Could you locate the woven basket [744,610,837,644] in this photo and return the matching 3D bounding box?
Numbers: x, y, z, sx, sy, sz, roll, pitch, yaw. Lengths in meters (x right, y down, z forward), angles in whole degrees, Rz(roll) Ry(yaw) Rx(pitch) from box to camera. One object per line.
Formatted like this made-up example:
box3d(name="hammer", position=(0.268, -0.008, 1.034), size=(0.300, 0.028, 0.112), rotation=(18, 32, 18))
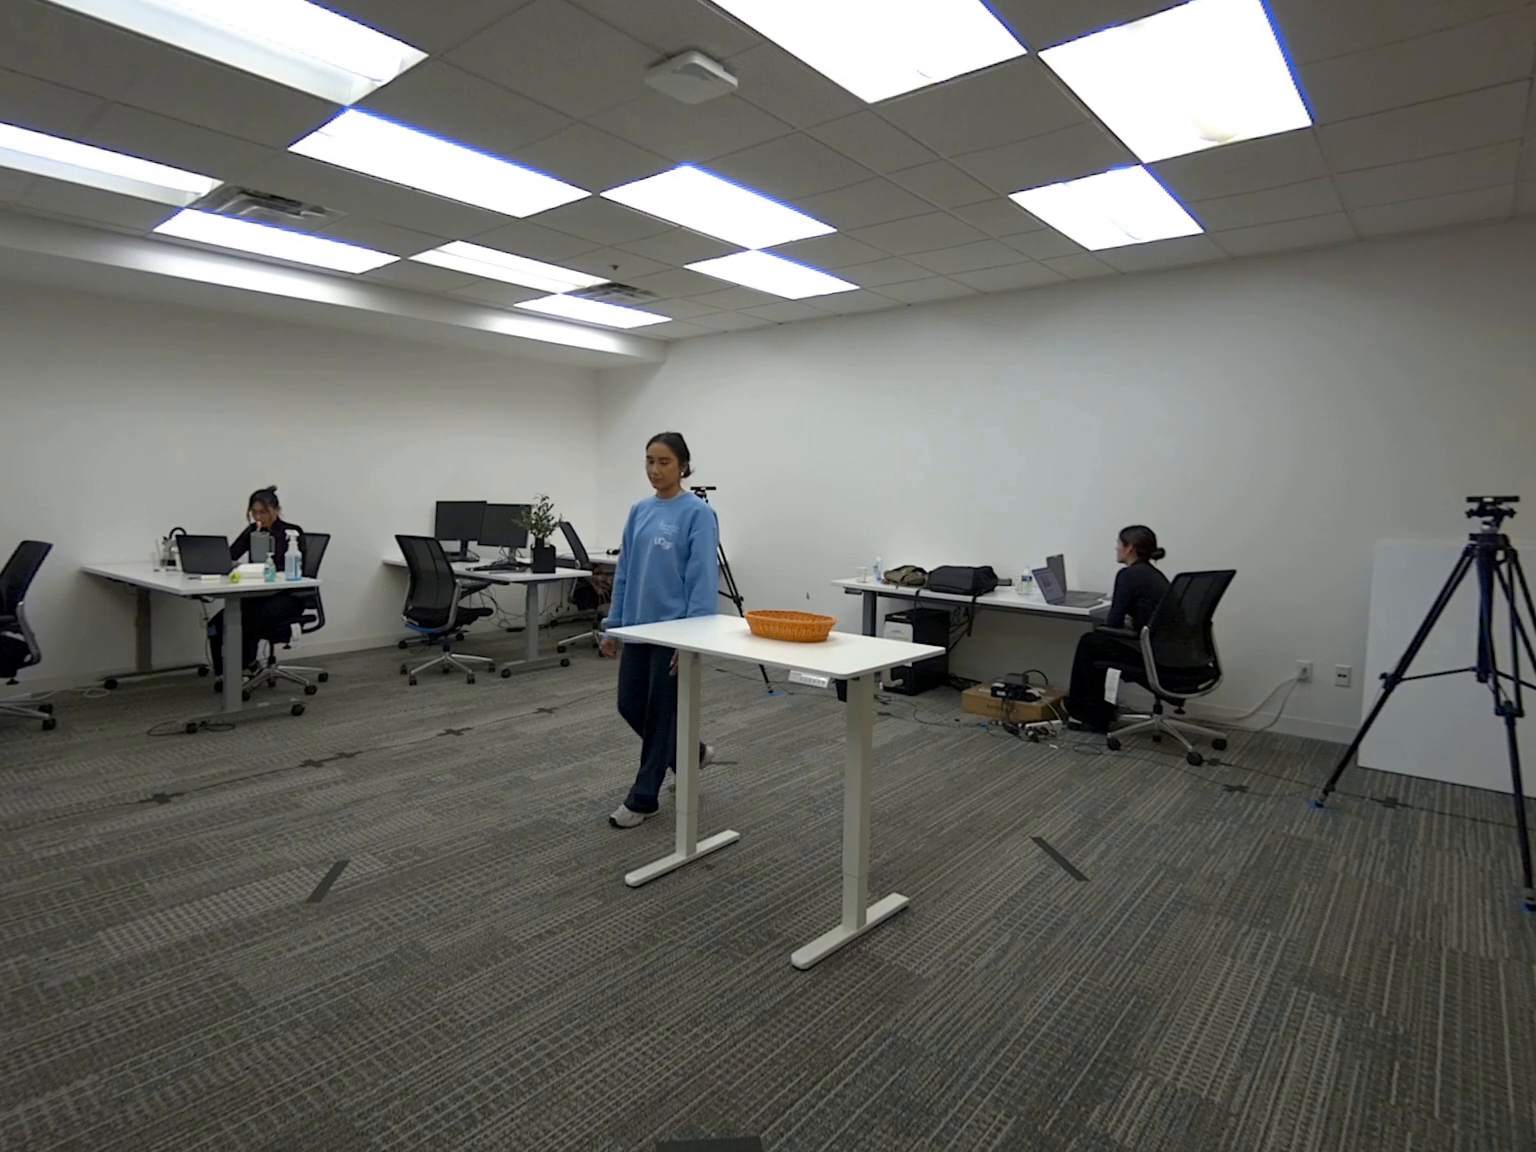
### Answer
box3d(name="woven basket", position=(0.072, 0.176, 2.943), size=(0.362, 0.073, 0.245), rotation=(6, 6, 43))
